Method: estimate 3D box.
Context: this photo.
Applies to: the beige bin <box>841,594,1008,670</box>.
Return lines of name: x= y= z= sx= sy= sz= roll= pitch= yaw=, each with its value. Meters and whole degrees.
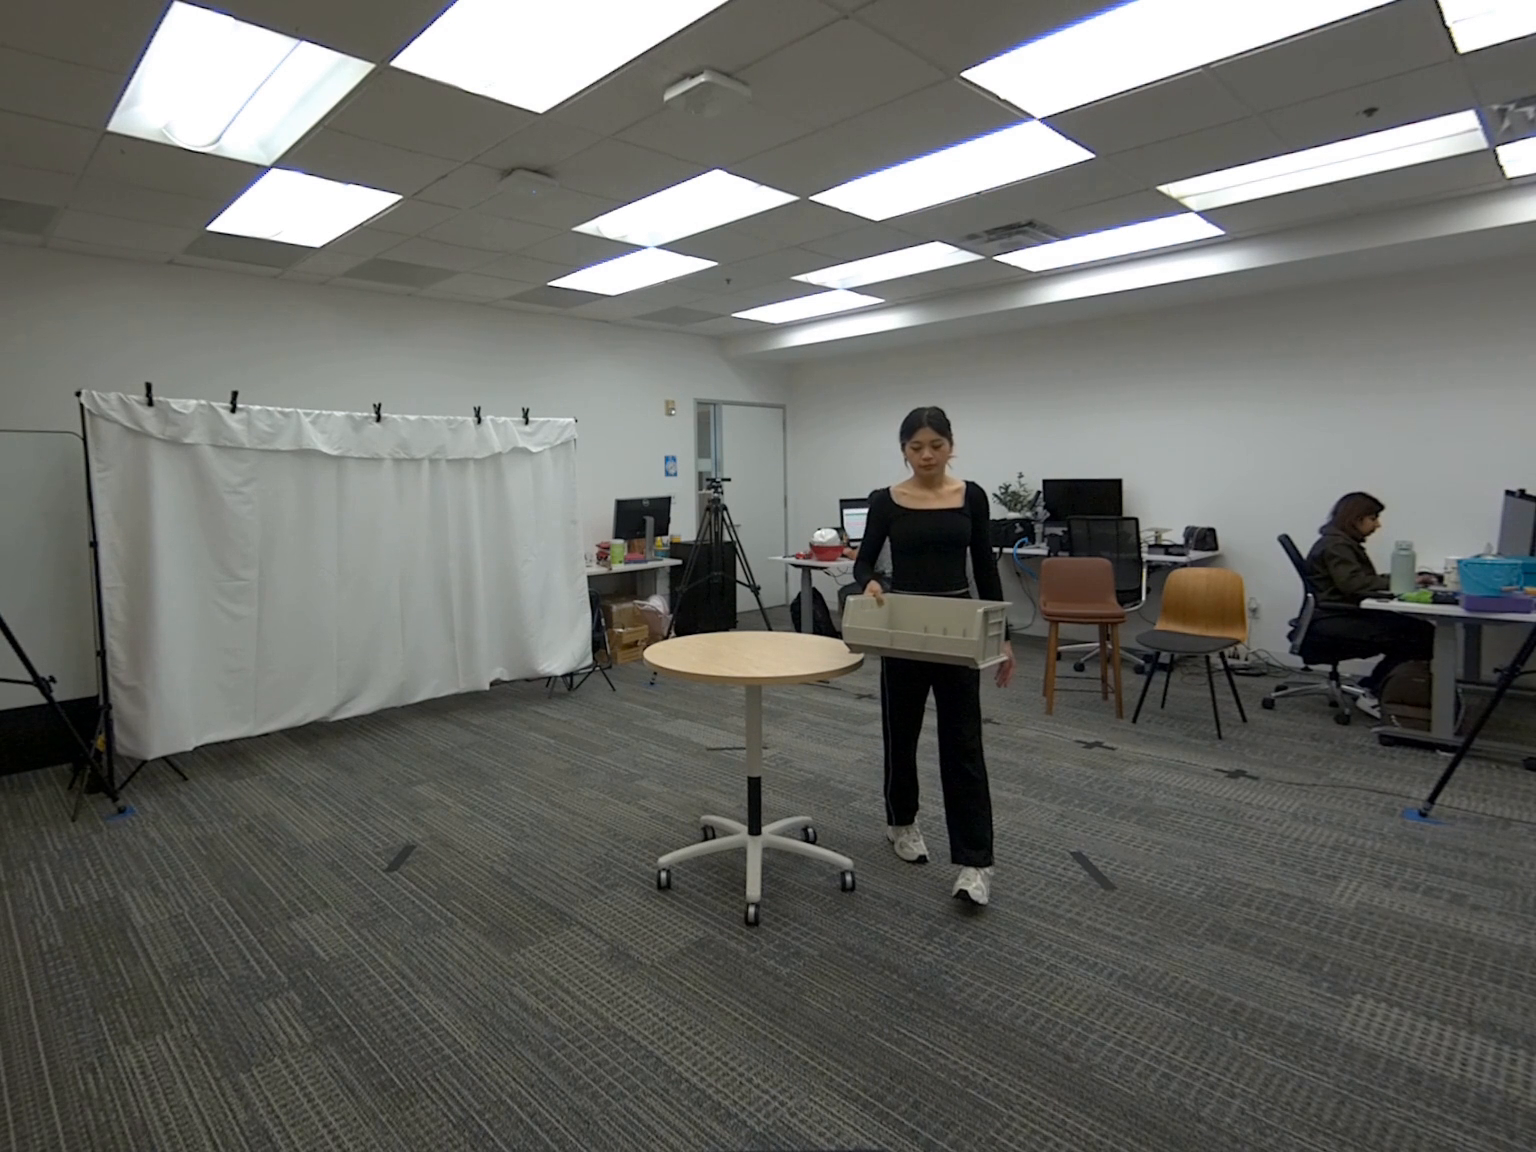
beige bin: x=0.506 y=0.170 z=2.667 sx=0.434 sy=0.189 sz=0.367 roll=3 pitch=1 yaw=31
